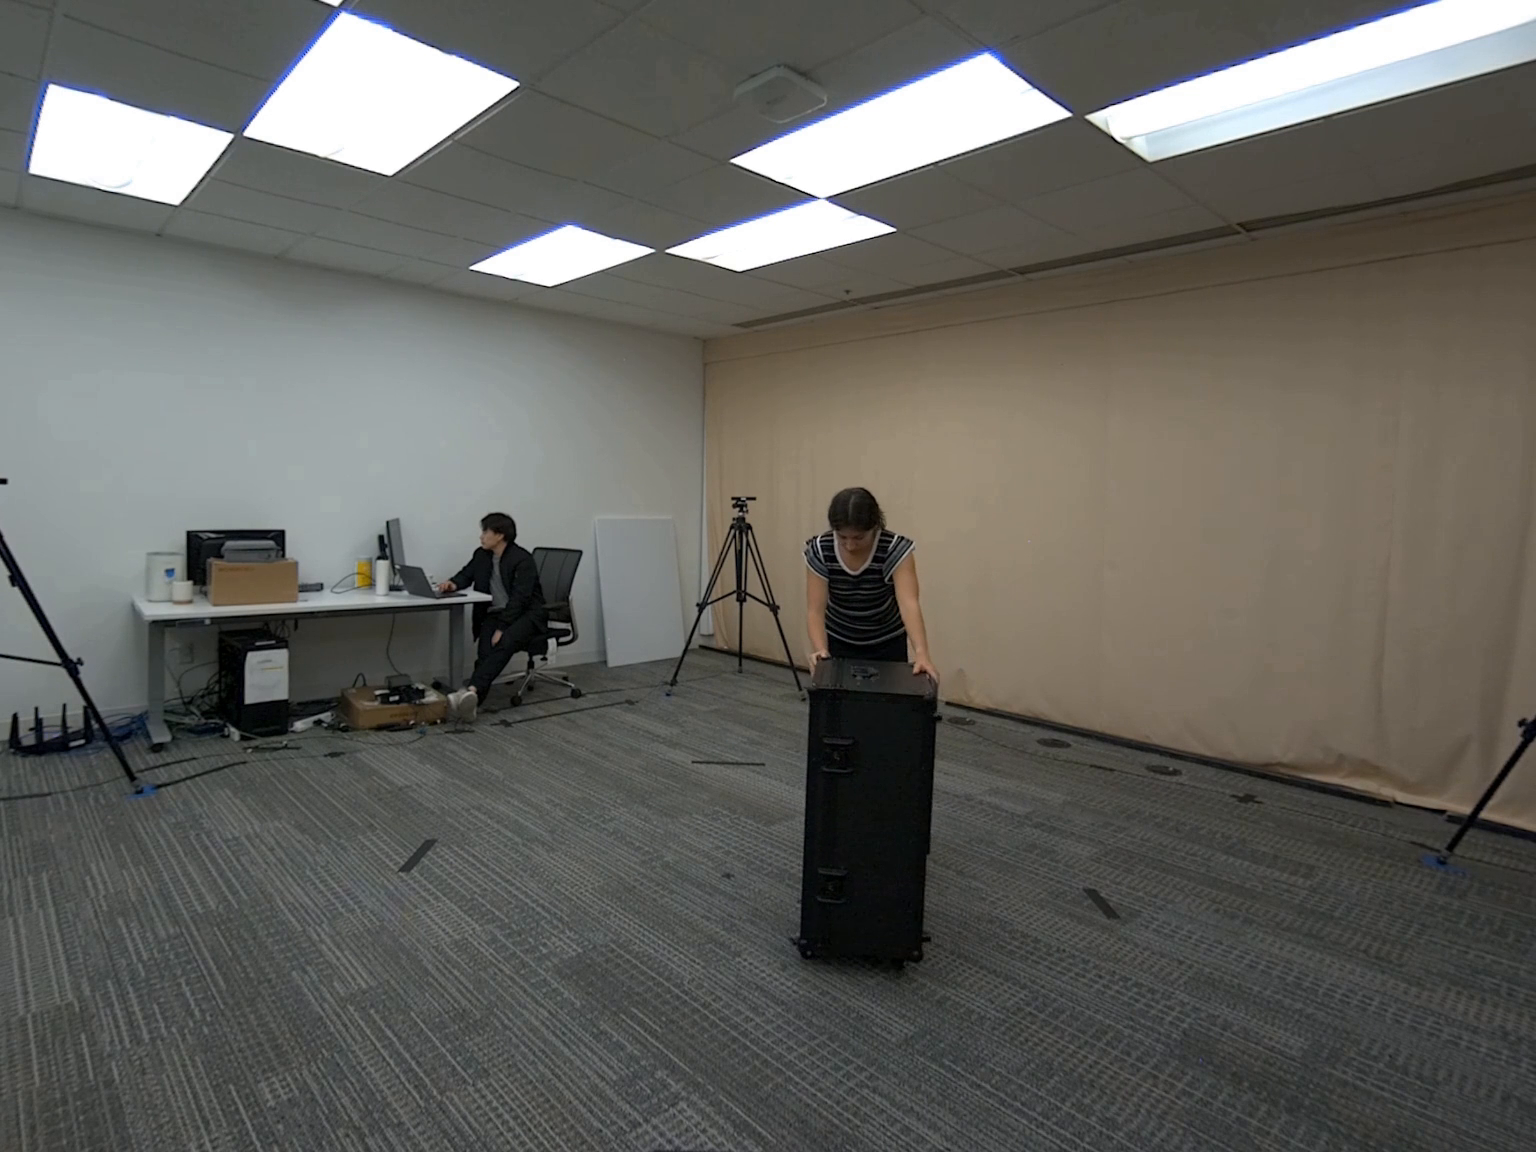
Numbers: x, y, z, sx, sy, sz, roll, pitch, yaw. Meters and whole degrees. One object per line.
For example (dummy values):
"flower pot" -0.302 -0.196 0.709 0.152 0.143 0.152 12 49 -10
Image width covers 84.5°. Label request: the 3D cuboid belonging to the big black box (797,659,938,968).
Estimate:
"big black box" 0.308 0.742 2.661 0.399 0.859 0.519 3 3 8
